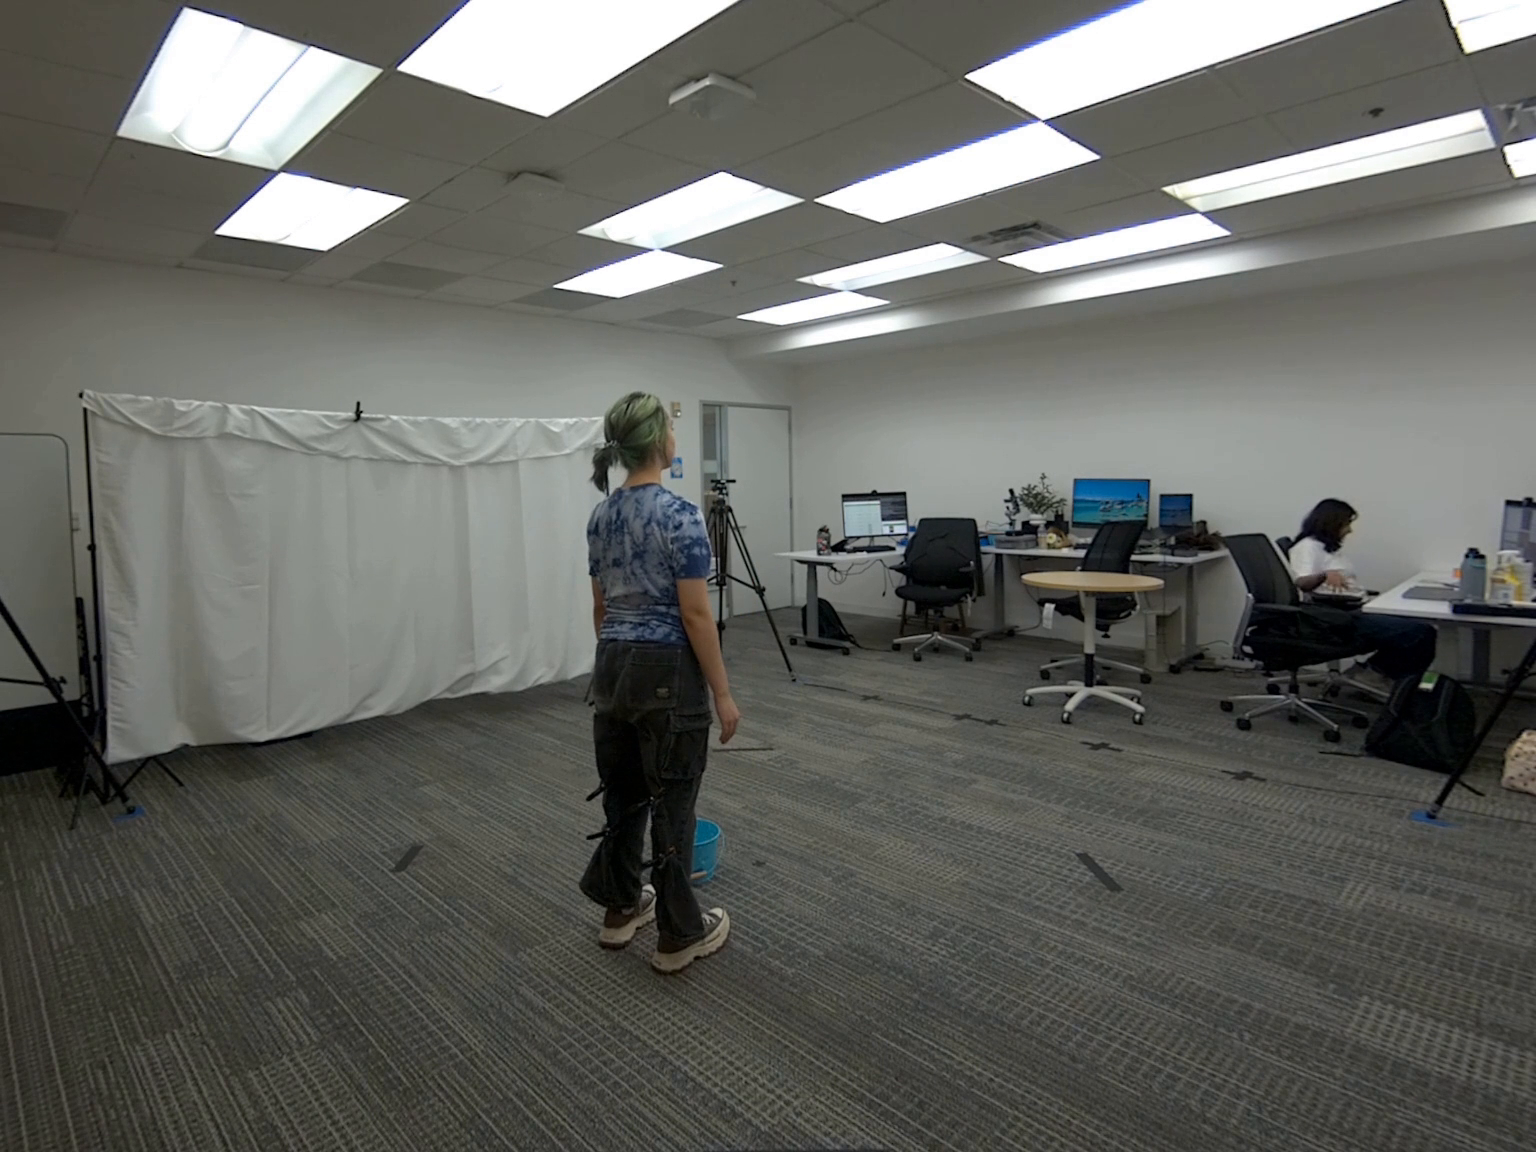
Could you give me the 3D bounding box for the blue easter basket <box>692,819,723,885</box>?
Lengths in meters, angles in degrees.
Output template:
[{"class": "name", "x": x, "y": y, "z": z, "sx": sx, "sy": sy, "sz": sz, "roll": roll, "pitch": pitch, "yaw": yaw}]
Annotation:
[{"class": "blue easter basket", "x": -0.284, "y": 0.981, "z": 3.040, "sx": 0.243, "sy": 0.155, "sz": 0.245, "roll": -1, "pitch": 5, "yaw": -2}]
